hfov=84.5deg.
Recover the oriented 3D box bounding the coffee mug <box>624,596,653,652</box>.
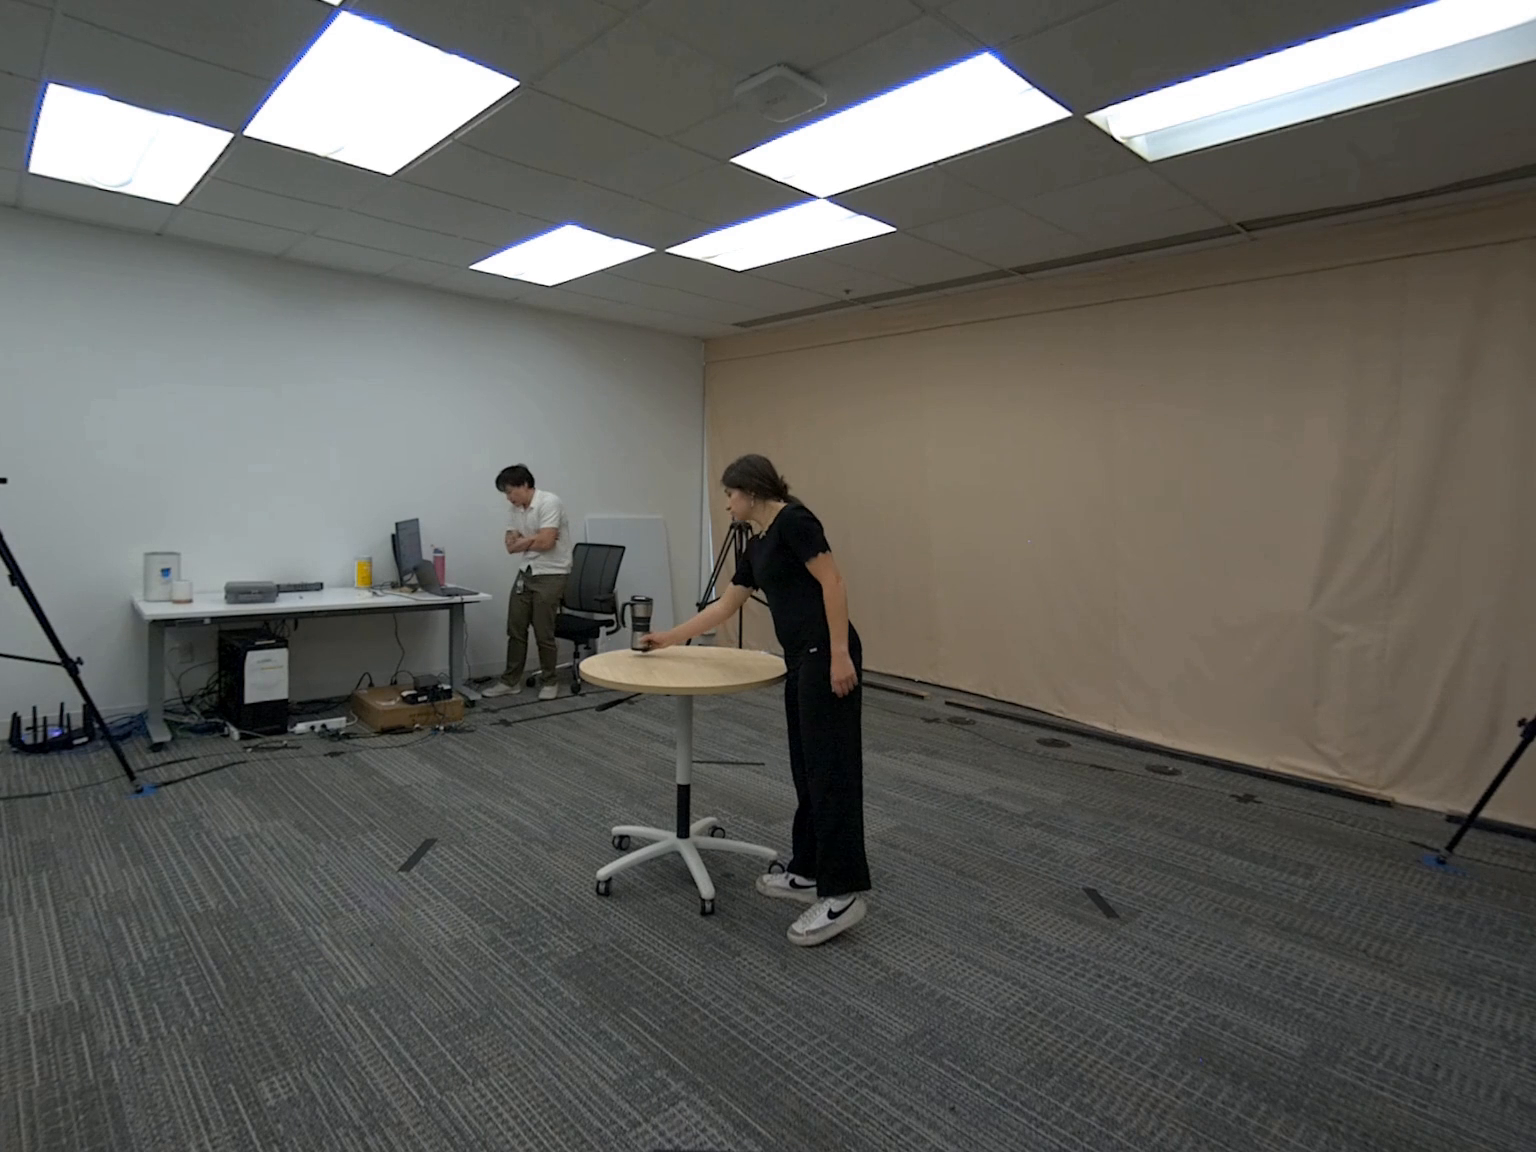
[{"bbox_3d":[-0.500,0.179,3.215,0.123,0.203,0.087,5,2,8],"label":"coffee mug"}]
